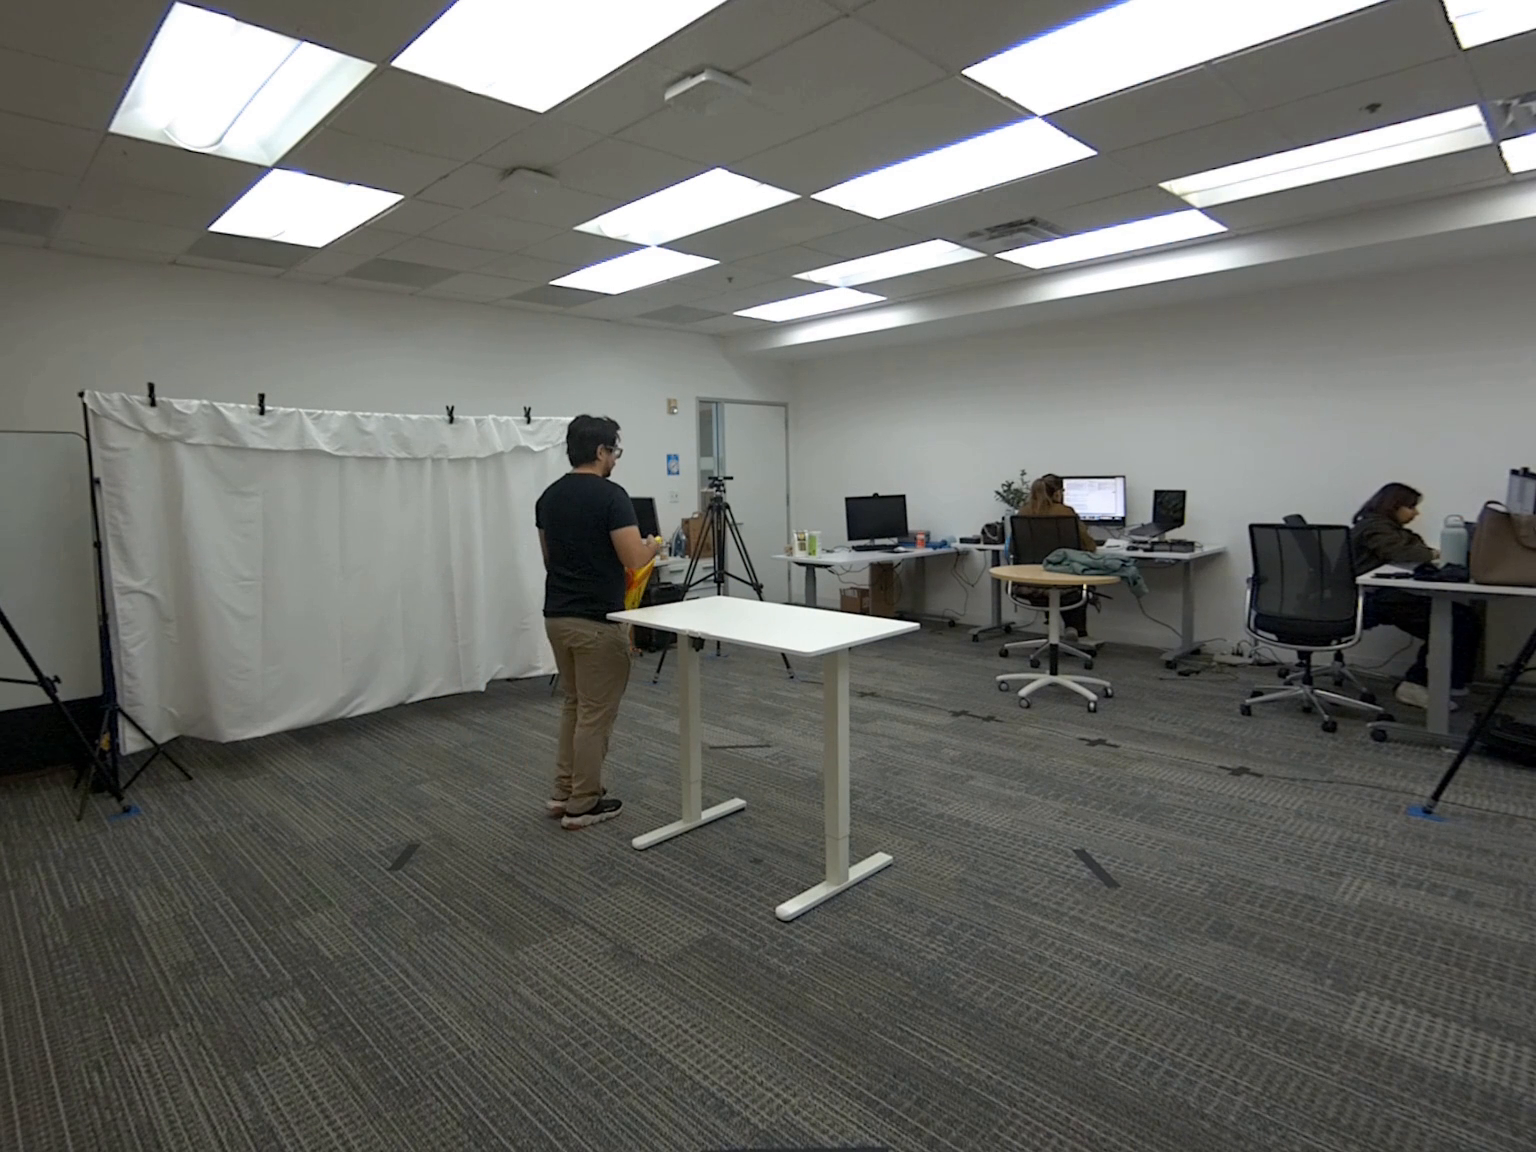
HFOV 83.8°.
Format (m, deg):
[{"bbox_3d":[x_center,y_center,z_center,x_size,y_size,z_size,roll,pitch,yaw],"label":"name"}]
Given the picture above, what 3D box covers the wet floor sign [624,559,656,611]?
[{"bbox_3d":[-0.659,0.095,3.764,0.289,0.644,0.283,38,28,-3],"label":"wet floor sign"}]
